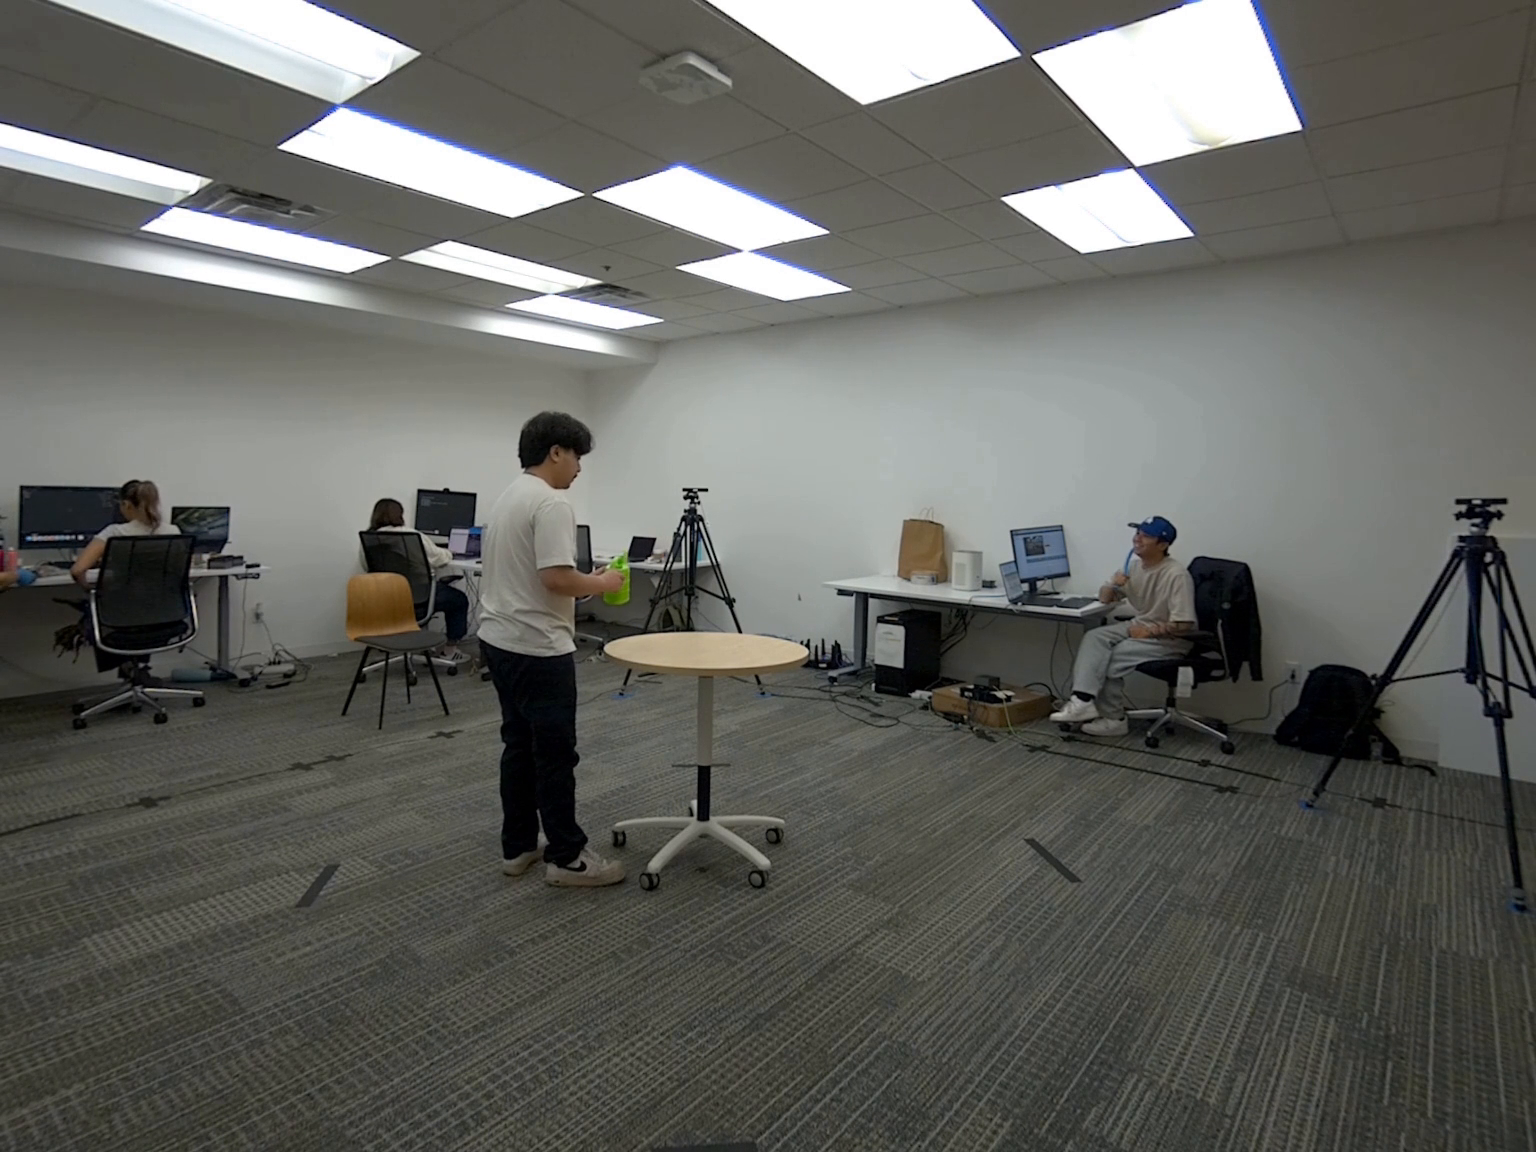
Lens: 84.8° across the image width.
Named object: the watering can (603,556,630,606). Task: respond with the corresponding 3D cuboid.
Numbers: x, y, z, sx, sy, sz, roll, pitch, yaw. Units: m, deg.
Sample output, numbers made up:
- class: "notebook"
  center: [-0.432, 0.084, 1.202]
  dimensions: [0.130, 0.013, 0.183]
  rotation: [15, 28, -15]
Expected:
- class: "watering can"
  center: [-0.587, 0.004, 3.309]
  dimensions: [0.100, 0.175, 0.275]
  rotation: [6, 13, 18]
